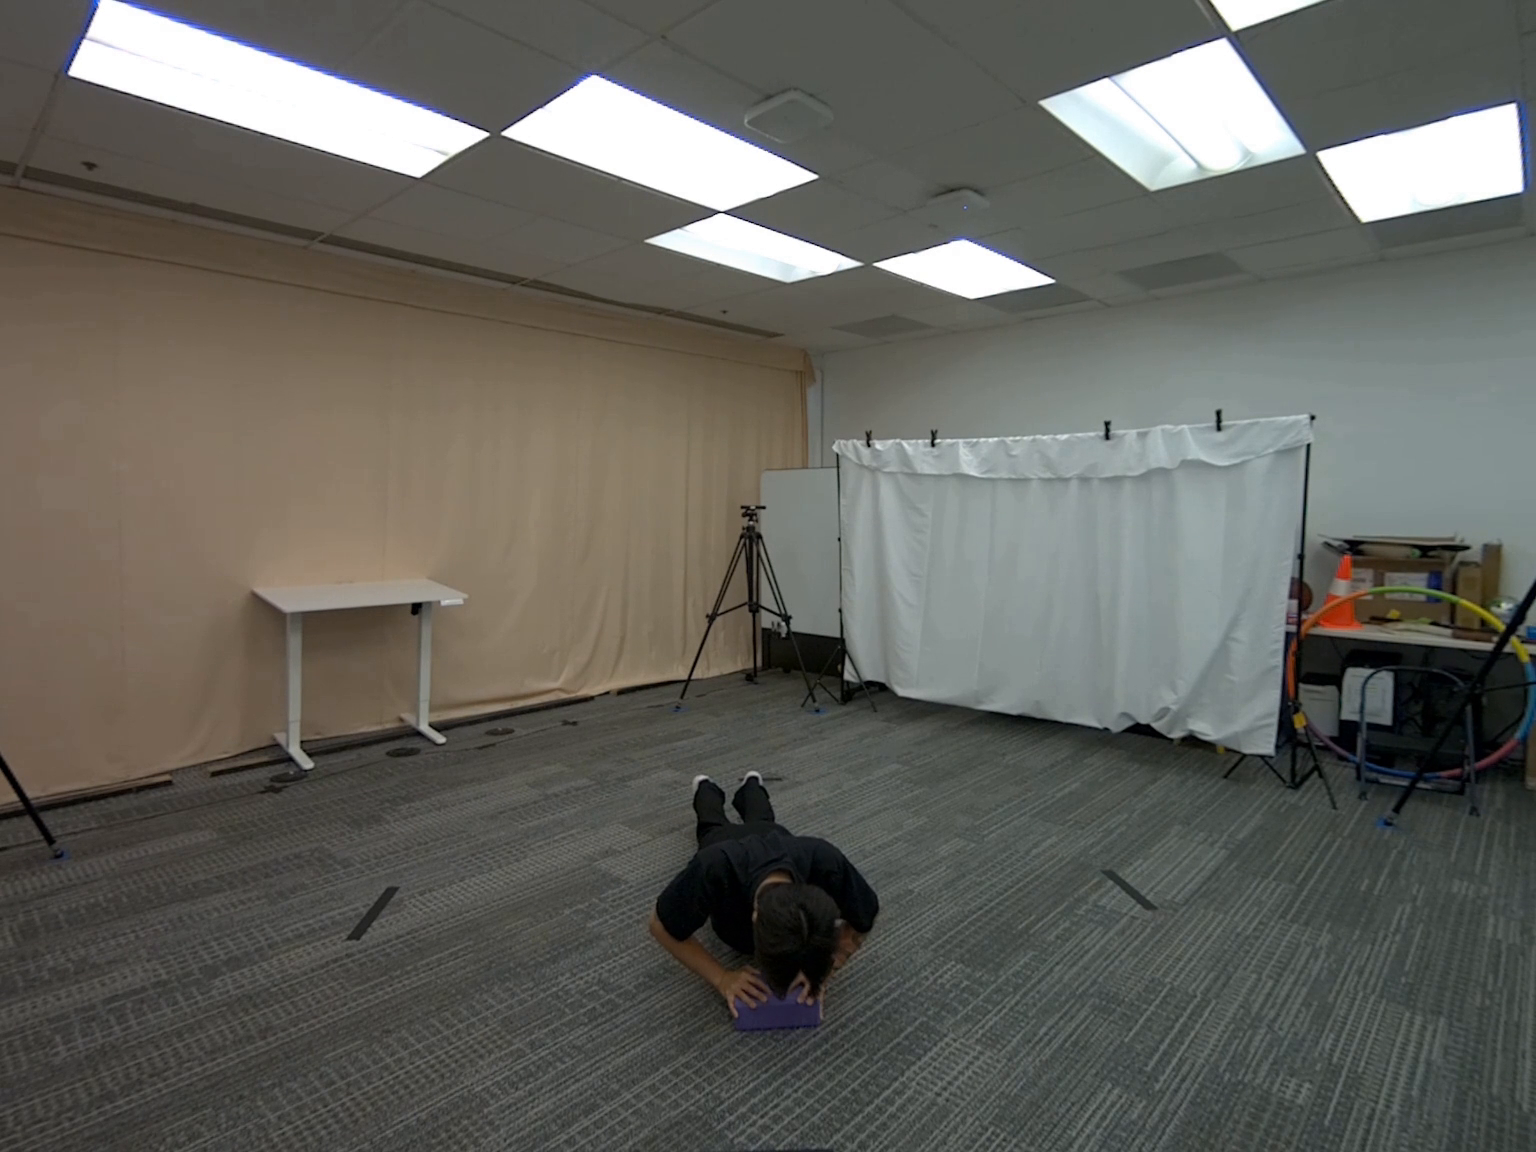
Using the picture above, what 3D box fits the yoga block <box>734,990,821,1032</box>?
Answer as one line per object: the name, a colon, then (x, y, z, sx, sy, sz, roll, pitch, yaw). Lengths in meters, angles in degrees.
yoga block: (0.010, 1.155, 2.307, 0.228, 0.076, 0.151, 1, 10, -7)
